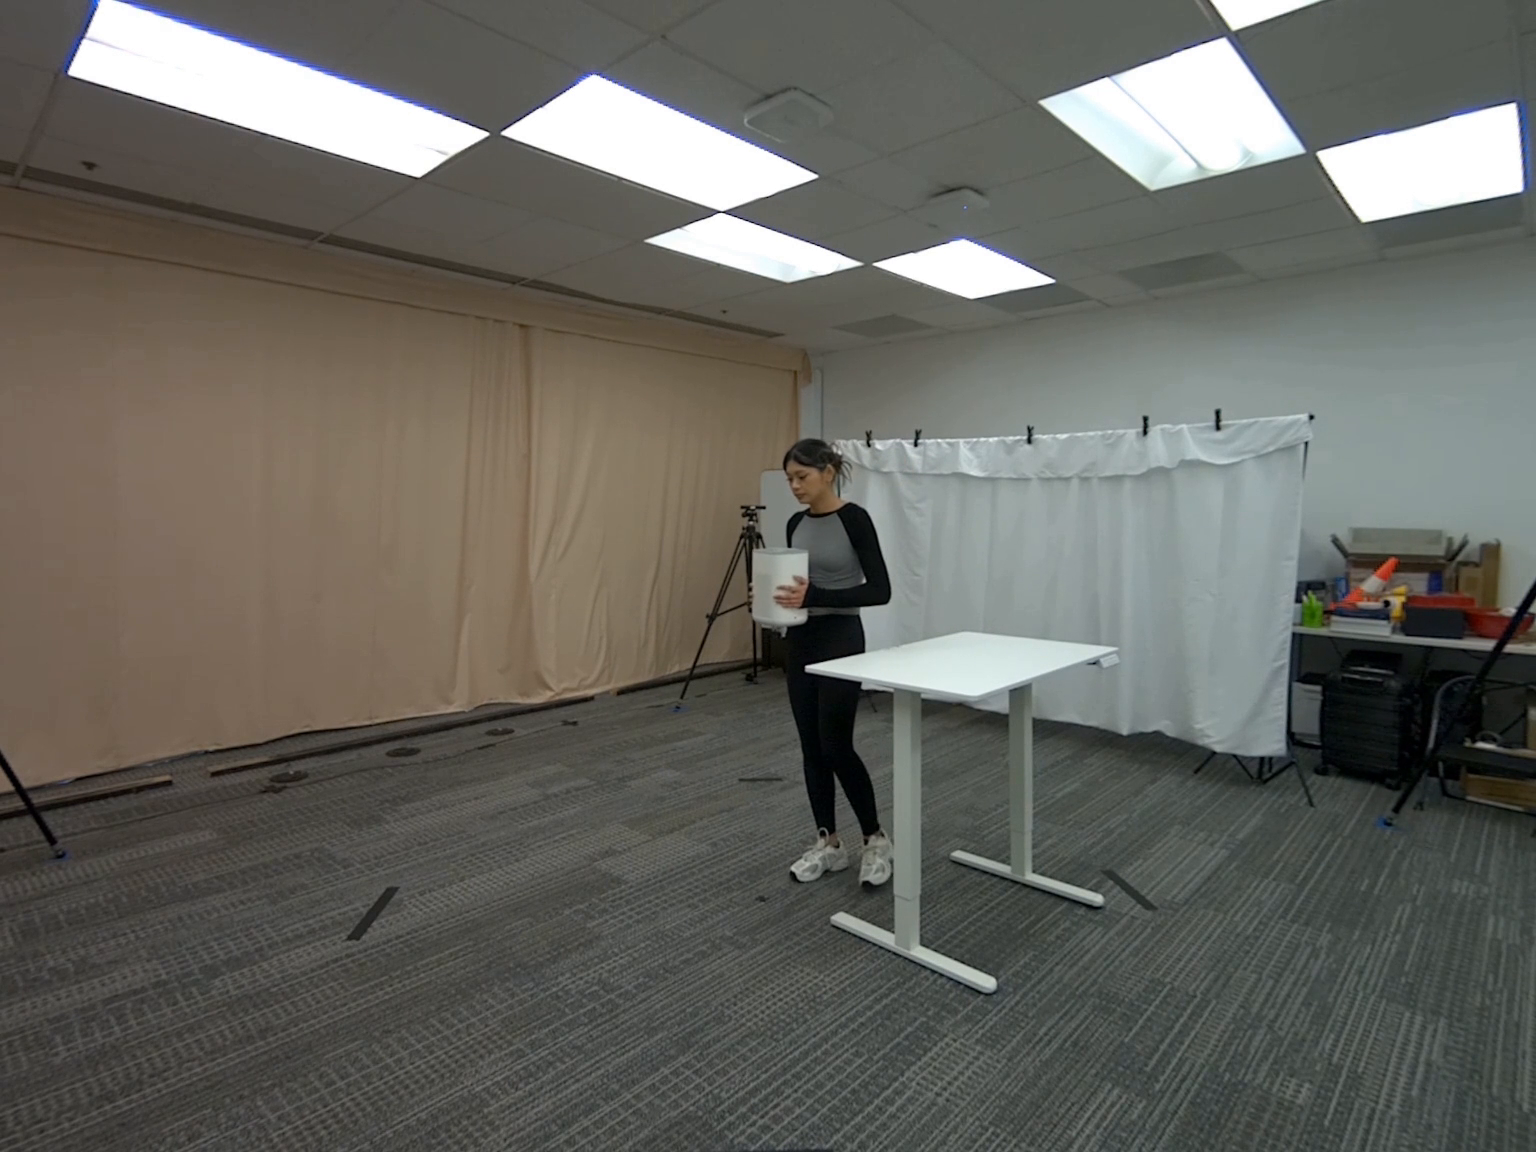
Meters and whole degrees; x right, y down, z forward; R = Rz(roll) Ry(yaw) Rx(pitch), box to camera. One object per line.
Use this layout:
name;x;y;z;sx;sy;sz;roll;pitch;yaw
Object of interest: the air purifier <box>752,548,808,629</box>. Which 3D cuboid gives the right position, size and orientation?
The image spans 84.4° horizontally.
air purifier;0.043;0.041;3.017;0.176;0.264;0.167;3;6;29
